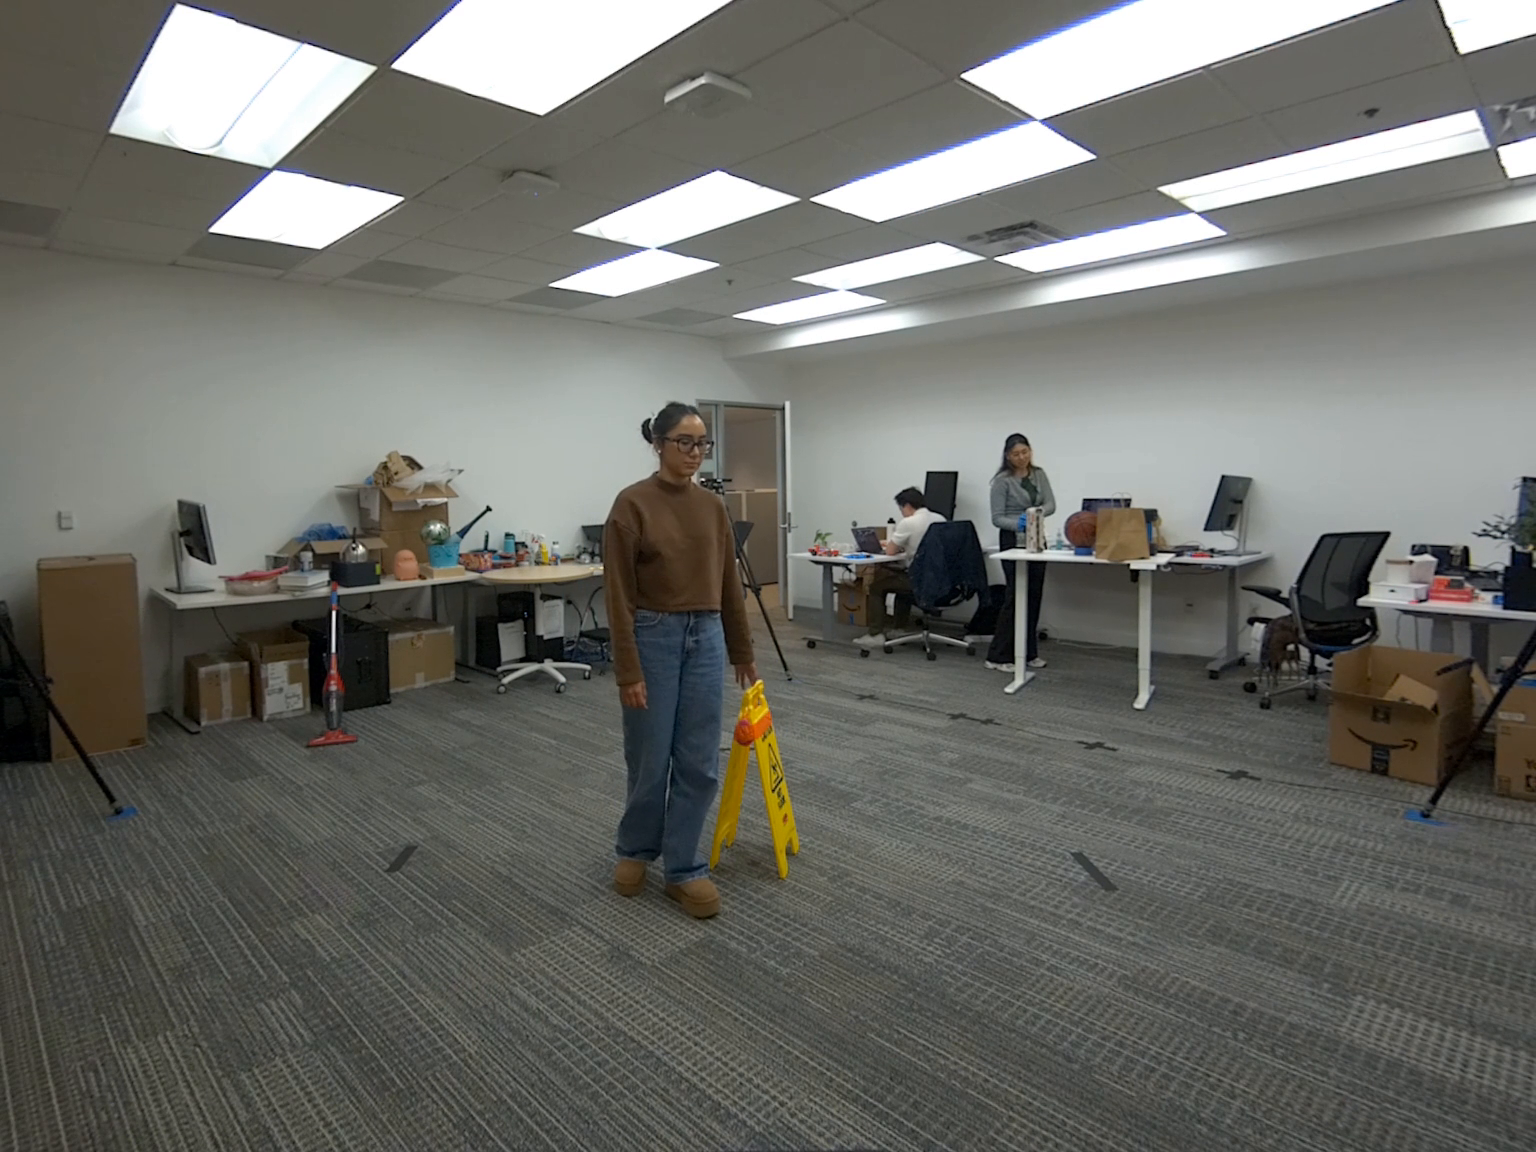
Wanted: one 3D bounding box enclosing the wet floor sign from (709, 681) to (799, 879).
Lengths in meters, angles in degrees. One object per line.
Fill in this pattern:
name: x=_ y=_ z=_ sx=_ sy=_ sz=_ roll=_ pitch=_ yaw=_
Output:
wet floor sign: x=-0.051 y=0.717 z=3.126 sx=0.294 sy=0.644 sz=0.278 roll=0 pitch=3 yaw=16
